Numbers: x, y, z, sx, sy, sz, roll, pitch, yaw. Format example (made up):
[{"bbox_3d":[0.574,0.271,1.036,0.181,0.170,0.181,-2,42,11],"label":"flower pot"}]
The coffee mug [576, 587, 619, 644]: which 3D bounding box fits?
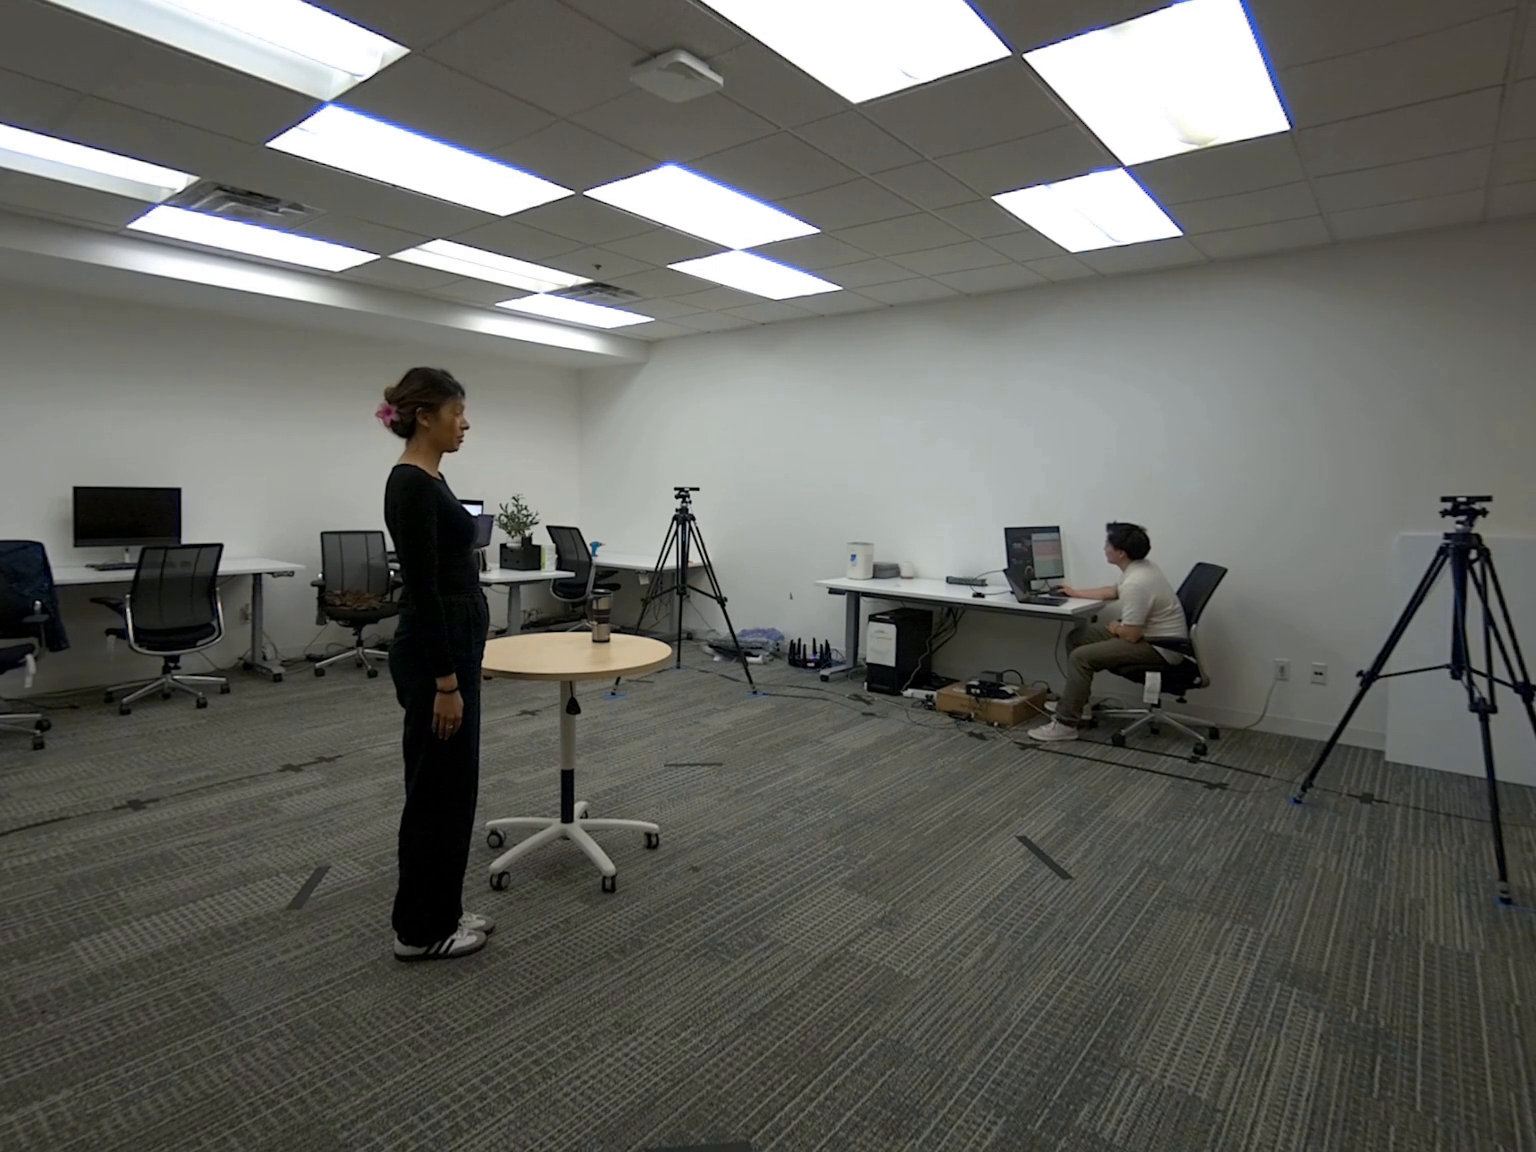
[{"bbox_3d":[-0.673,0.152,3.301,0.118,0.202,0.091,2,4,-38],"label":"coffee mug"}]
